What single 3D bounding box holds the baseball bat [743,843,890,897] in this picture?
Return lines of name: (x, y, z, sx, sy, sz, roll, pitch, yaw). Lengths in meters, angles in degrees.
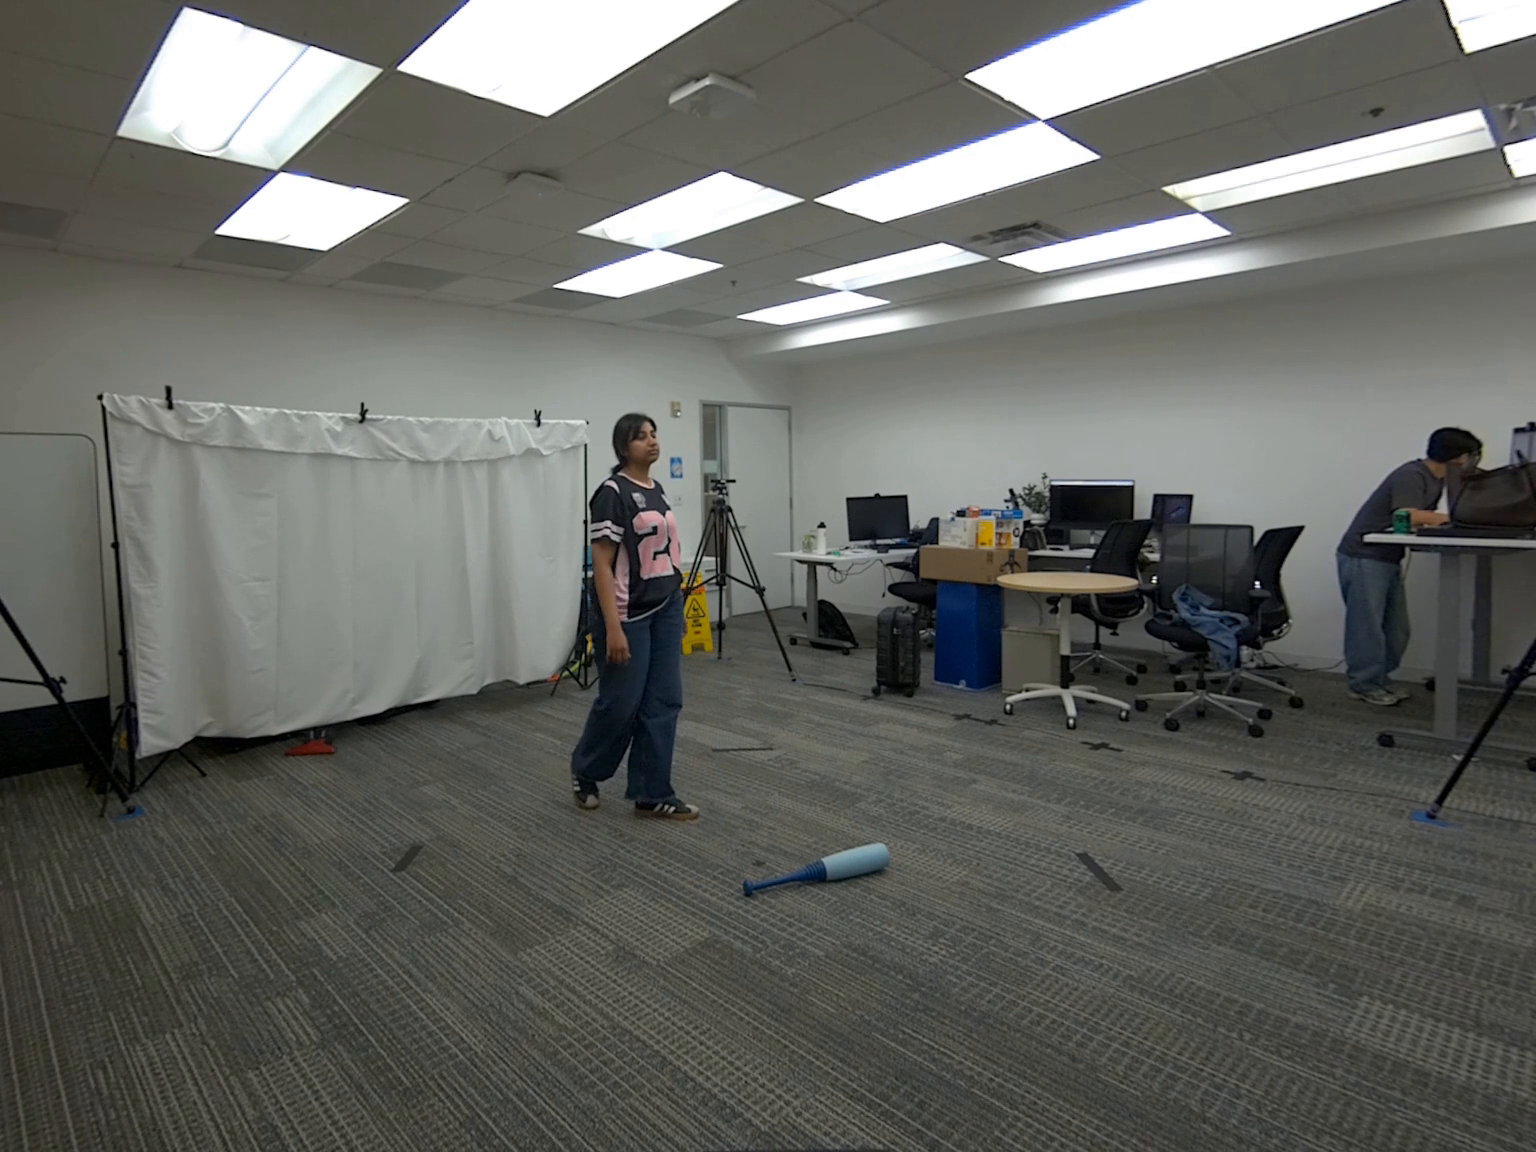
baseball bat: (0.174, 1.026, 2.960, 0.535, 0.088, 0.091, -7, 7, -19)
